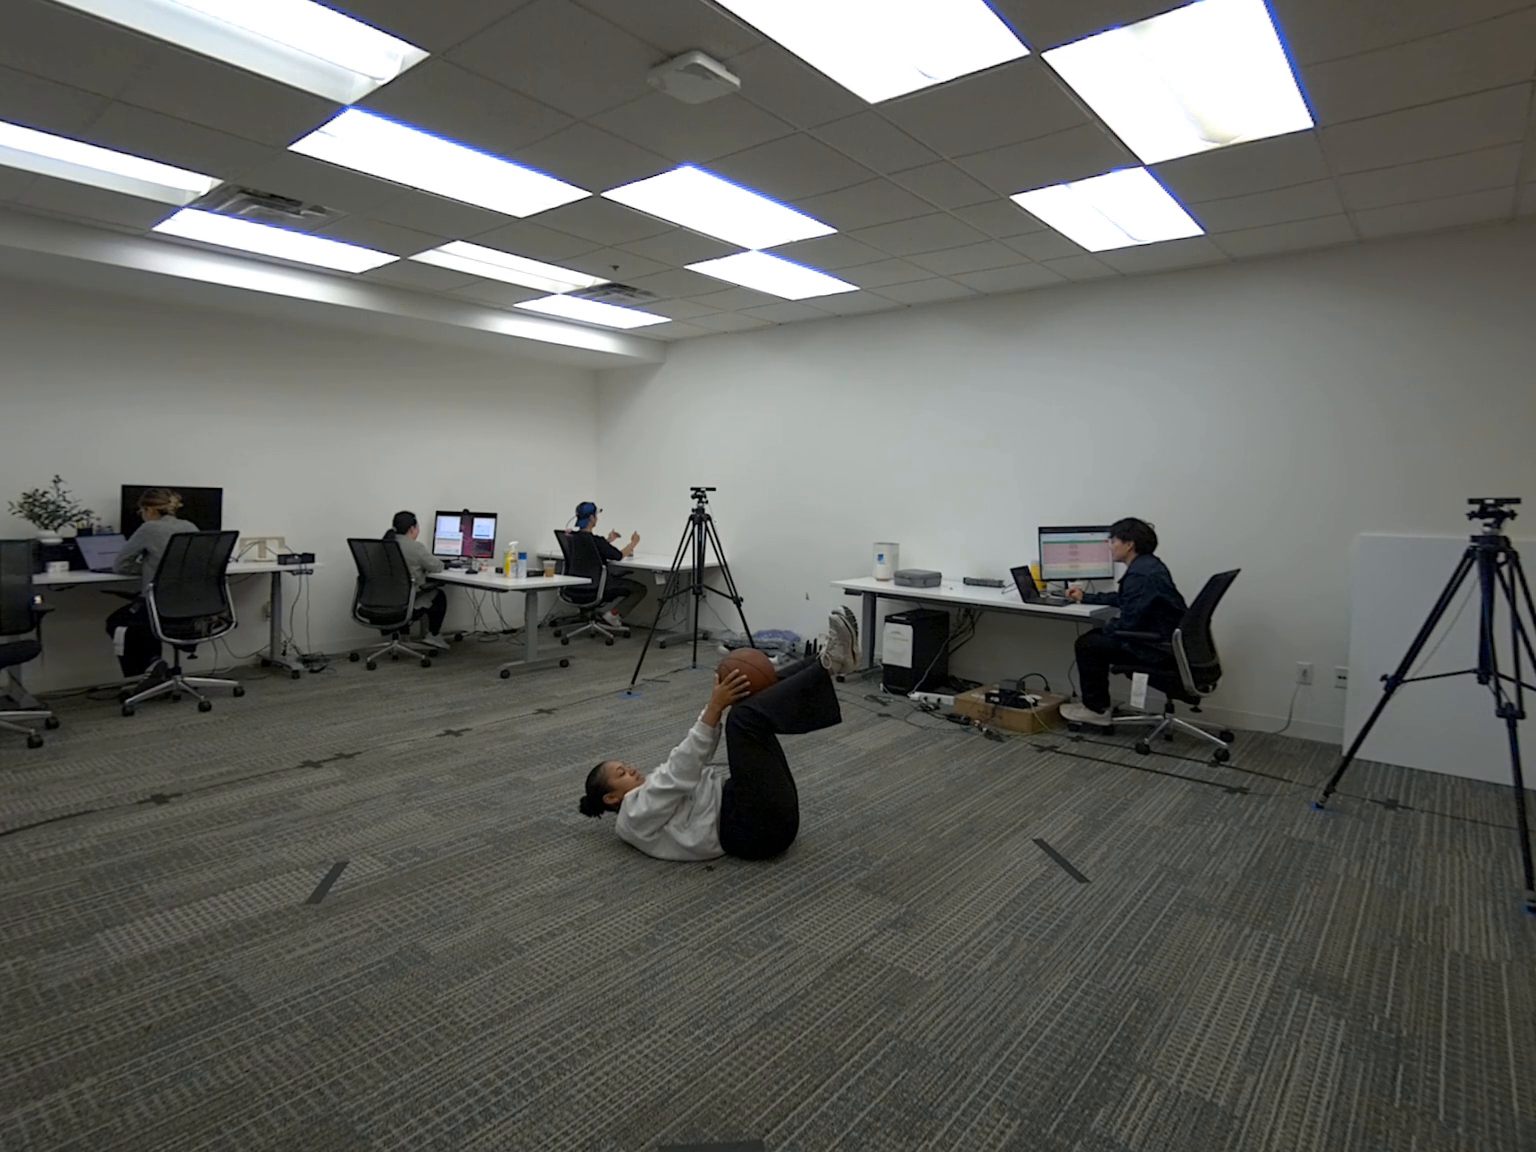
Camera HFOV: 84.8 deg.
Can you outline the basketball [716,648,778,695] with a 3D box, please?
[{"bbox_3d":[-0.109,0.388,3.328,0.236,0.235,0.237,0,4,-2],"label":"basketball"}]
